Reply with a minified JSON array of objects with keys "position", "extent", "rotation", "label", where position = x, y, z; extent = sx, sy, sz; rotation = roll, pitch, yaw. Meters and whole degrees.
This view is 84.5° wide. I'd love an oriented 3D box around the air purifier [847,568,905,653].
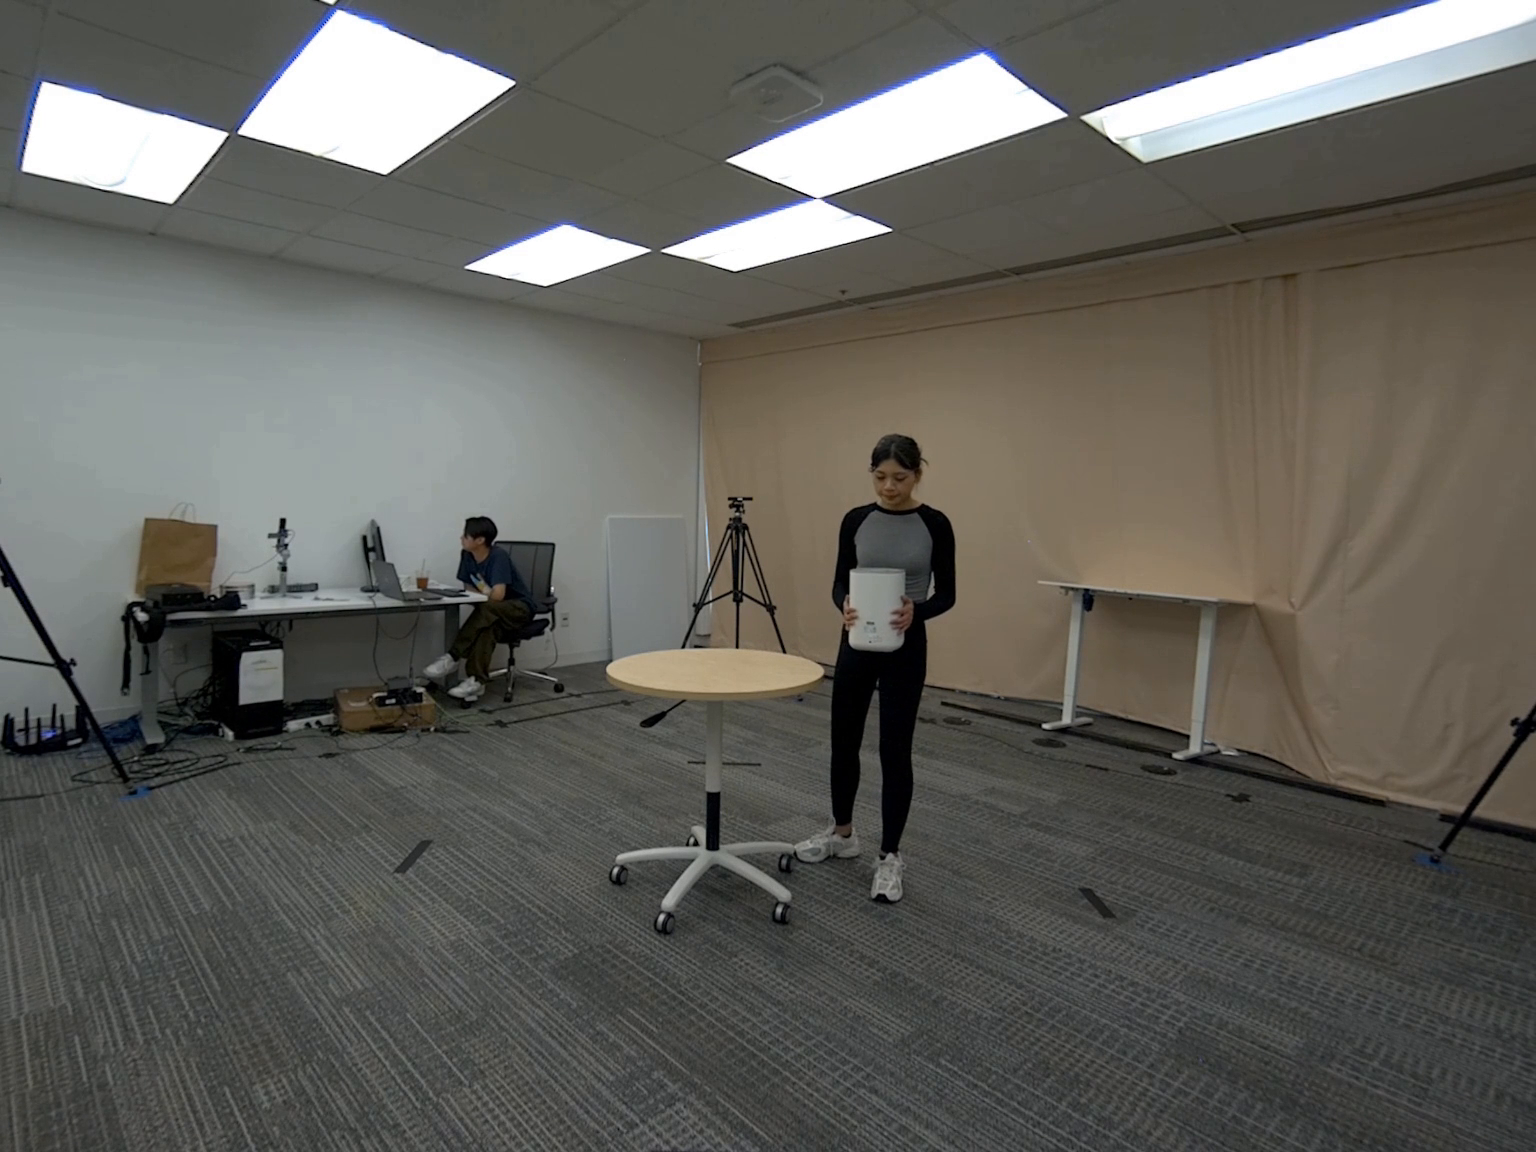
[{"position":[0.358,0.111,2.827],"extent":[0.173,0.265,0.170],"rotation":[0,2,11],"label":"air purifier"}]
